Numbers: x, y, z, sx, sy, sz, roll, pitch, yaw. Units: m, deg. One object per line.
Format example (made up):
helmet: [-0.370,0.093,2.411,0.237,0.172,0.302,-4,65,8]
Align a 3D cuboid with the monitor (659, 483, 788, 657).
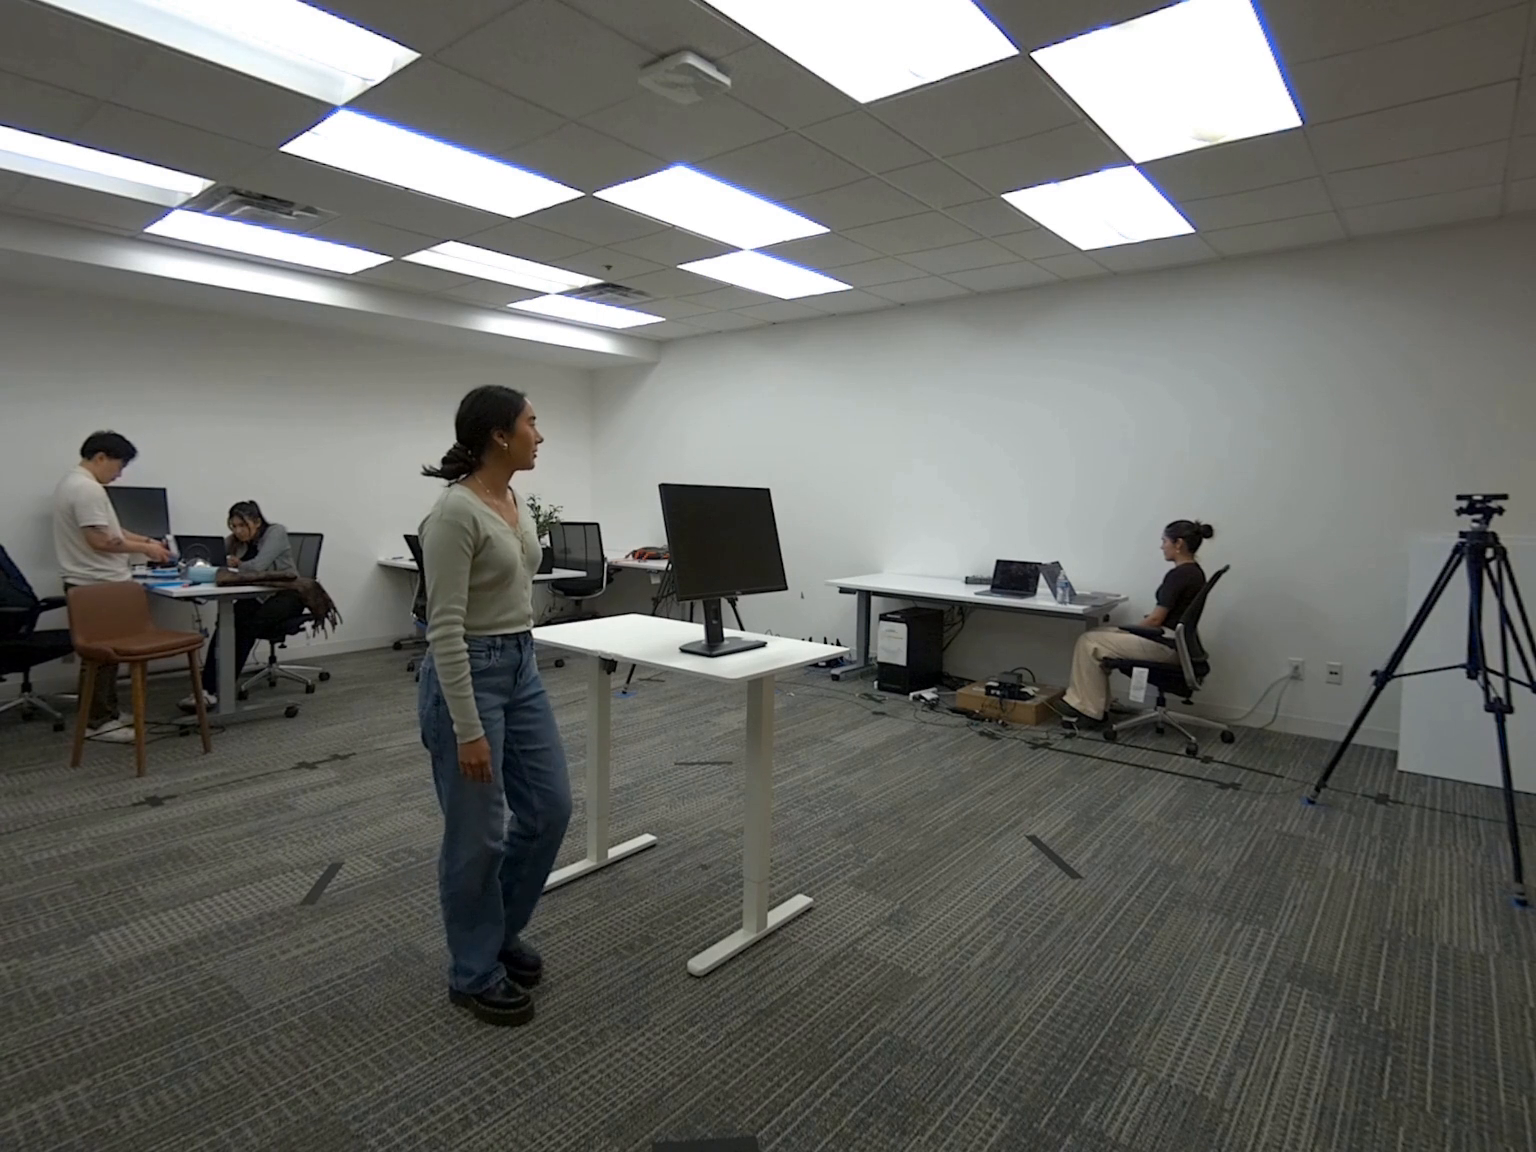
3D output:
monitor: [-0.159,-0.025,2.687,0.193,0.522,0.523,0,2,36]
